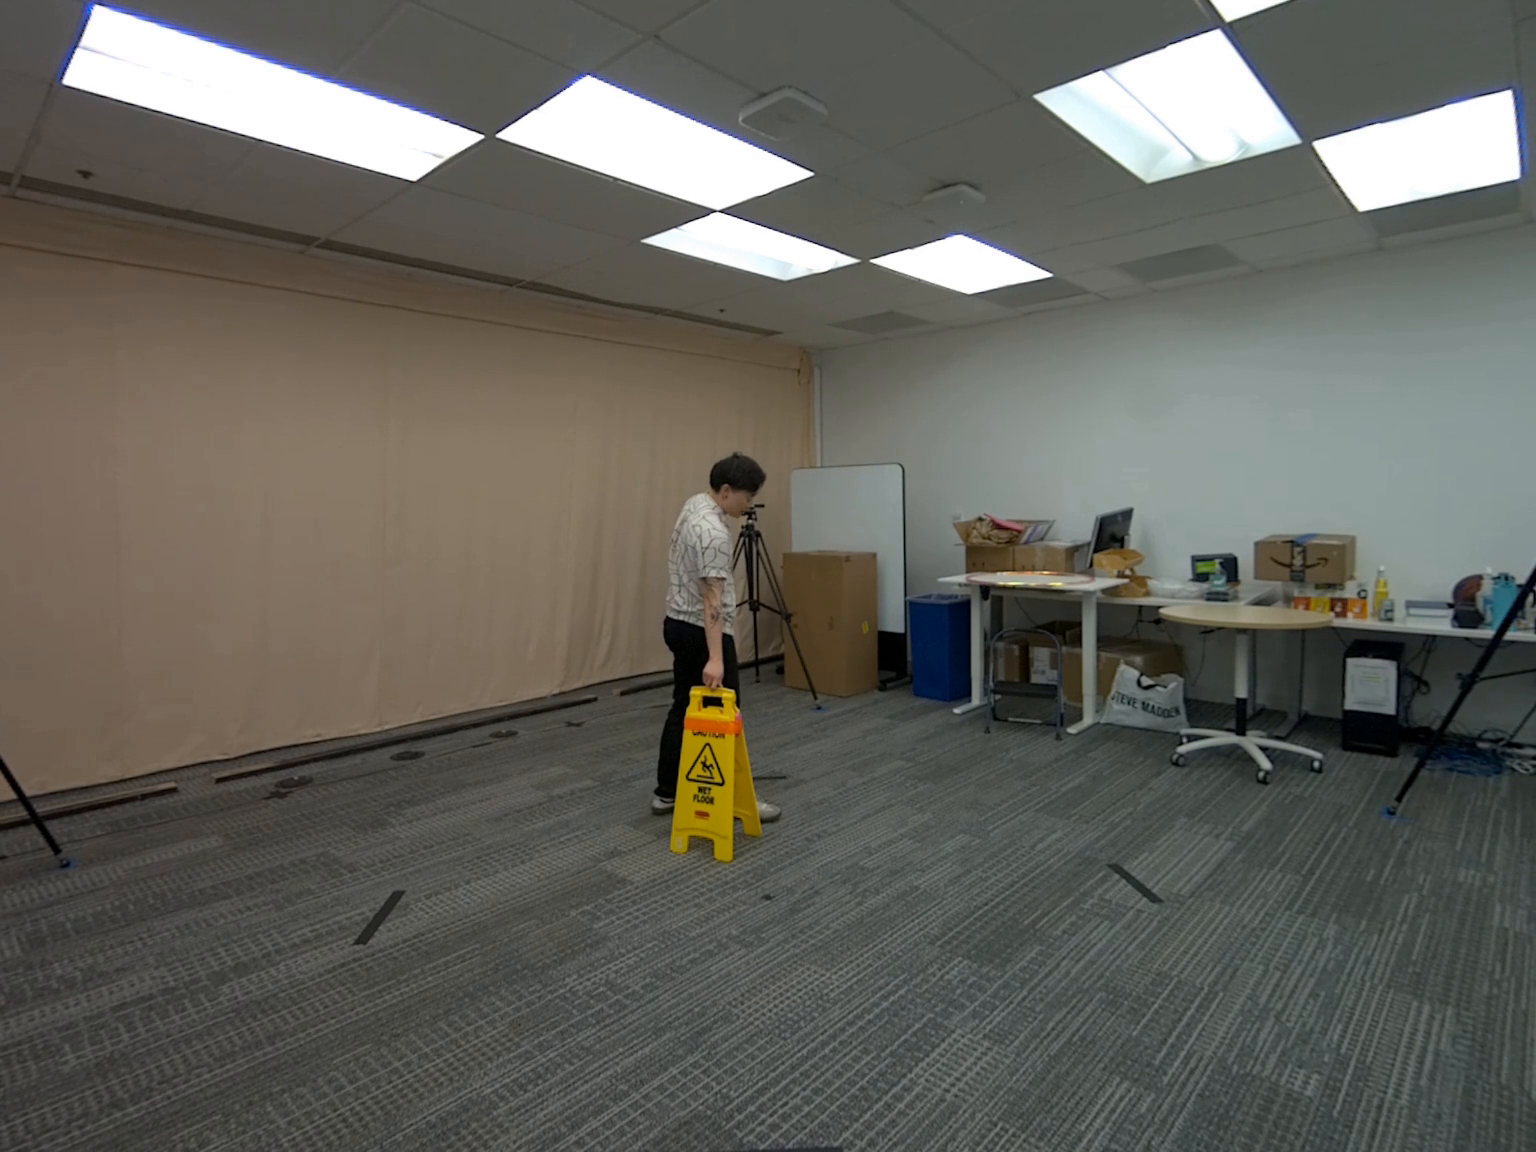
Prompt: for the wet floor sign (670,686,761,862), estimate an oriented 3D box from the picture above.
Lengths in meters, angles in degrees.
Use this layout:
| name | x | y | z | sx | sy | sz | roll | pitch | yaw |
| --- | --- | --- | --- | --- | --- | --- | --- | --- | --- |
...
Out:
| name | x | y | z | sx | sy | sz | roll | pitch | yaw |
| --- | --- | --- | --- | --- | --- | --- | --- | --- | --- |
| wet floor sign | -0.218 | 0.778 | 3.454 | 0.289 | 0.644 | 0.283 | -1 | 4 | 26 |
